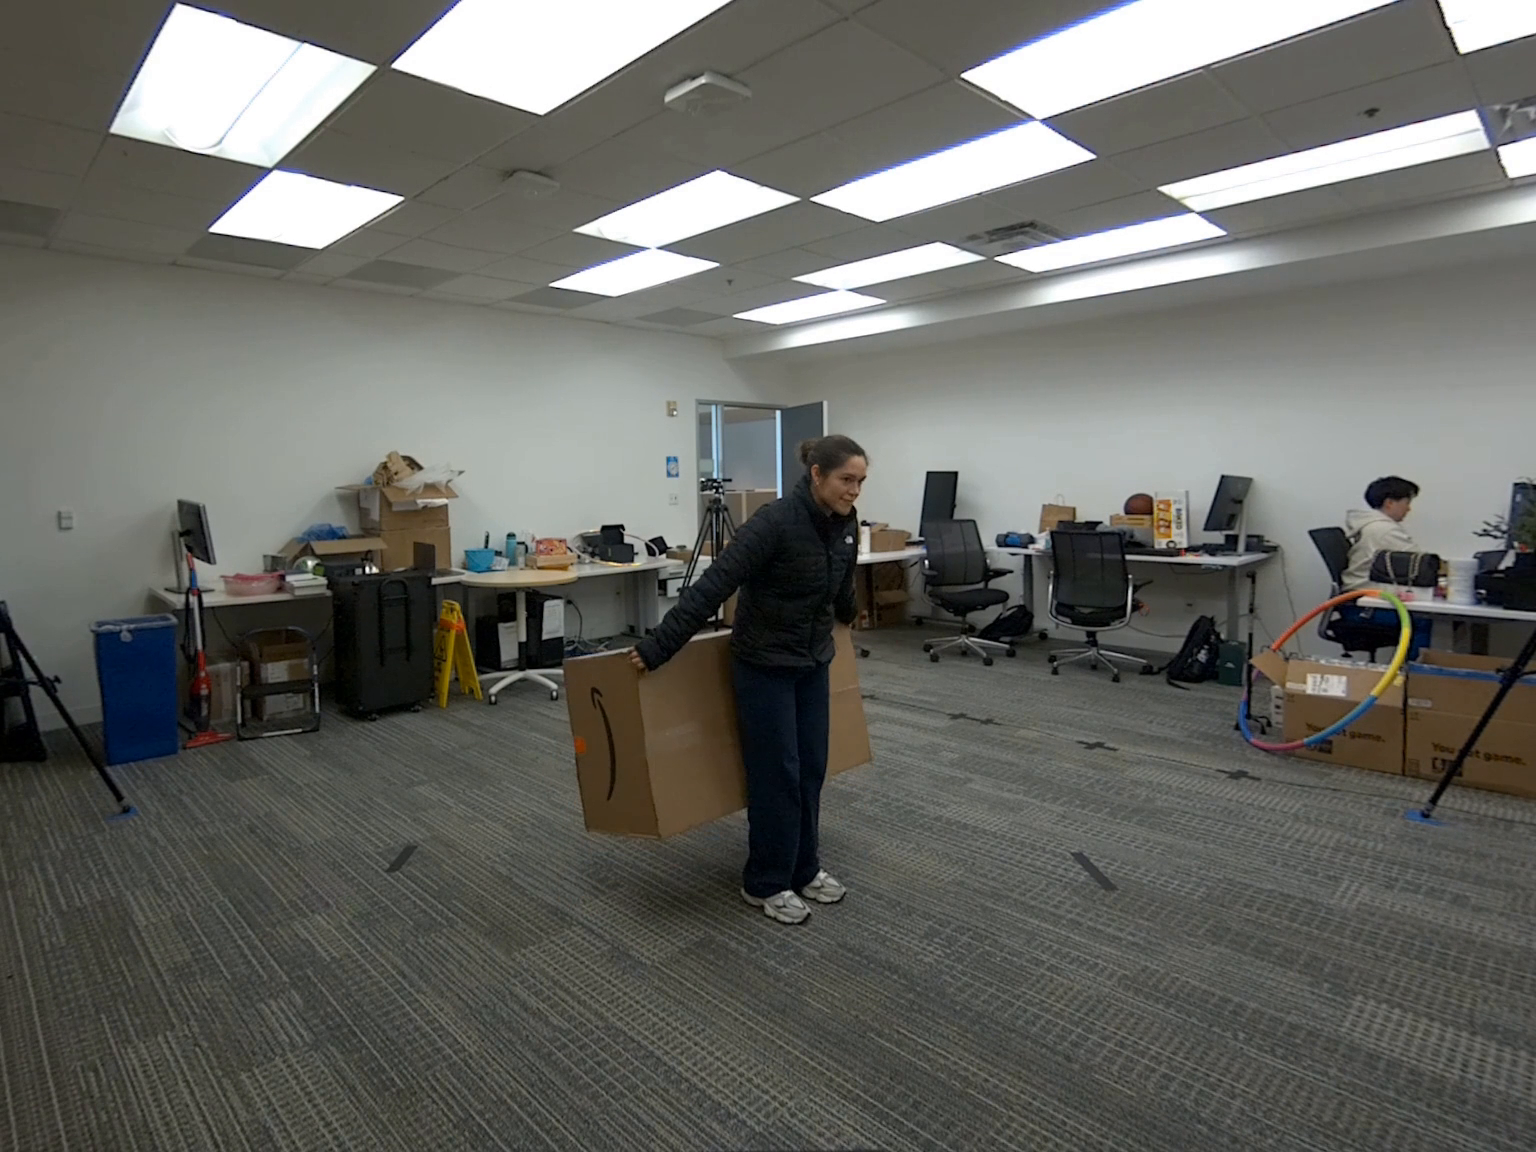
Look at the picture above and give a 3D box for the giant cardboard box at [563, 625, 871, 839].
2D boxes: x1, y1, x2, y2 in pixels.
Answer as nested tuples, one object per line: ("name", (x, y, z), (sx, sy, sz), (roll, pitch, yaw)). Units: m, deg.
("giant cardboard box", (-0.164, 0.498, 3.096), (0.999, 0.580, 0.435), (-7, -5, -43))
